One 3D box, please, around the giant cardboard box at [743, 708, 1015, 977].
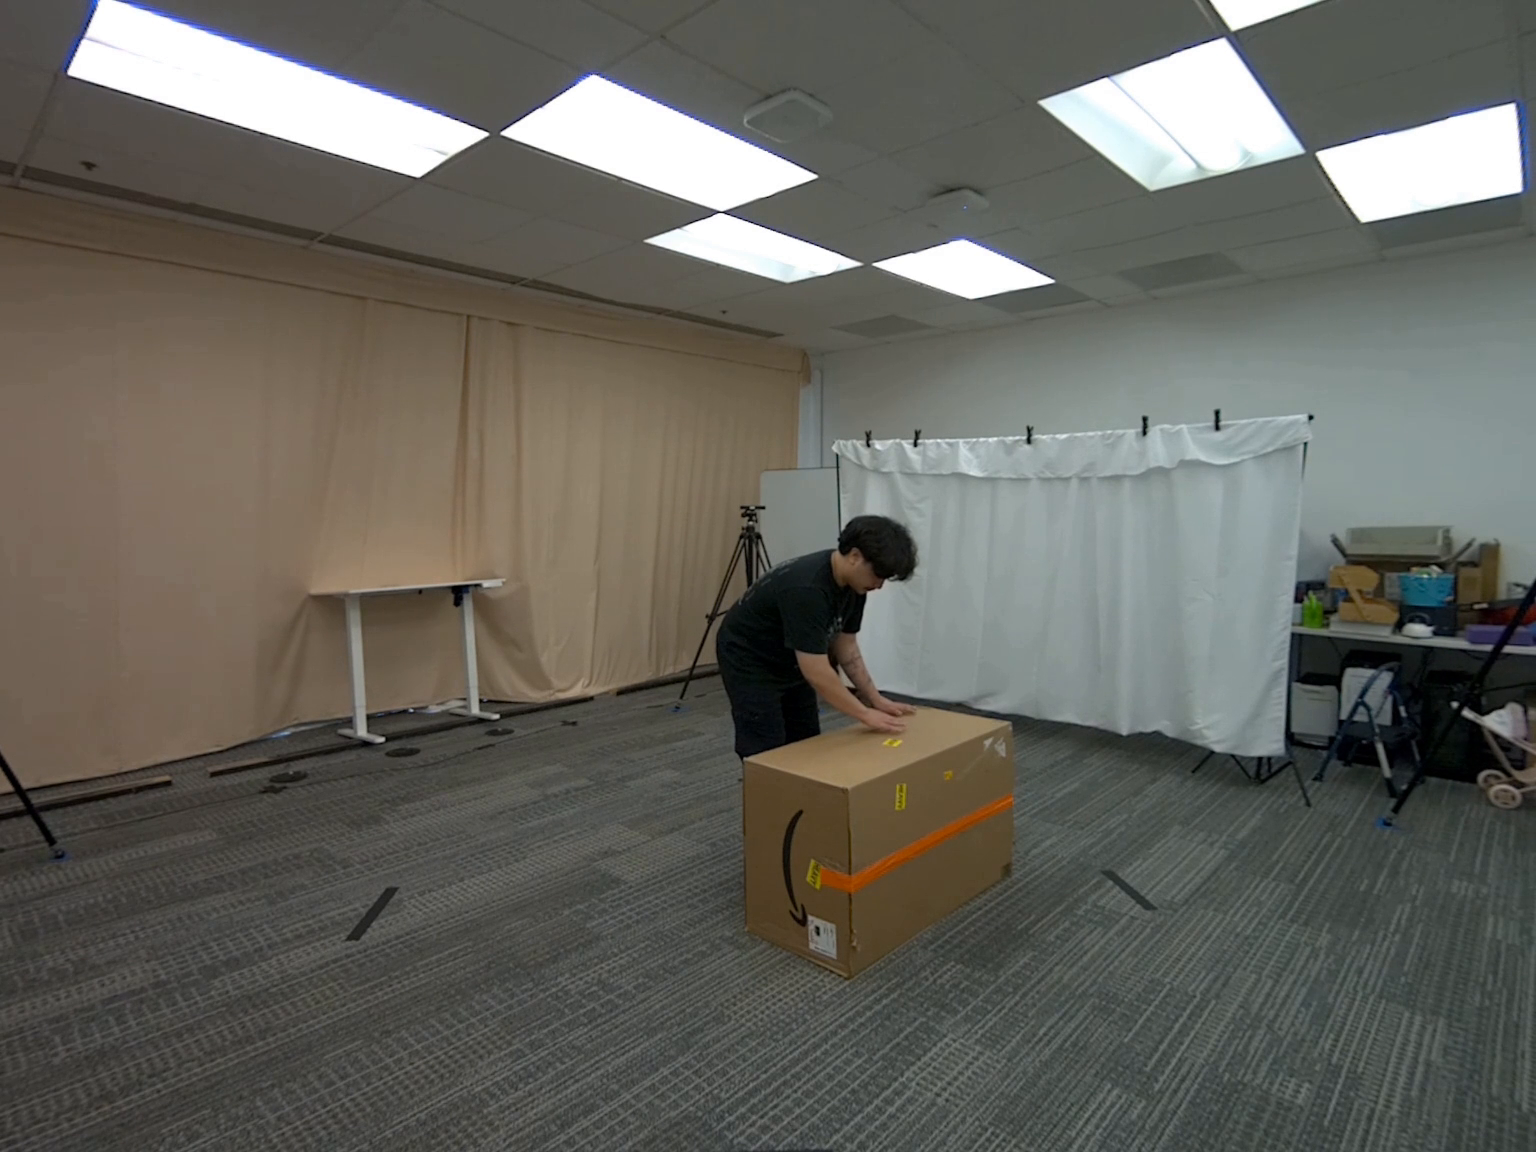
[{"bbox_3d":[0.429,0.860,2.953,0.462,0.582,0.996,4,7,43],"label":"giant cardboard box"}]
